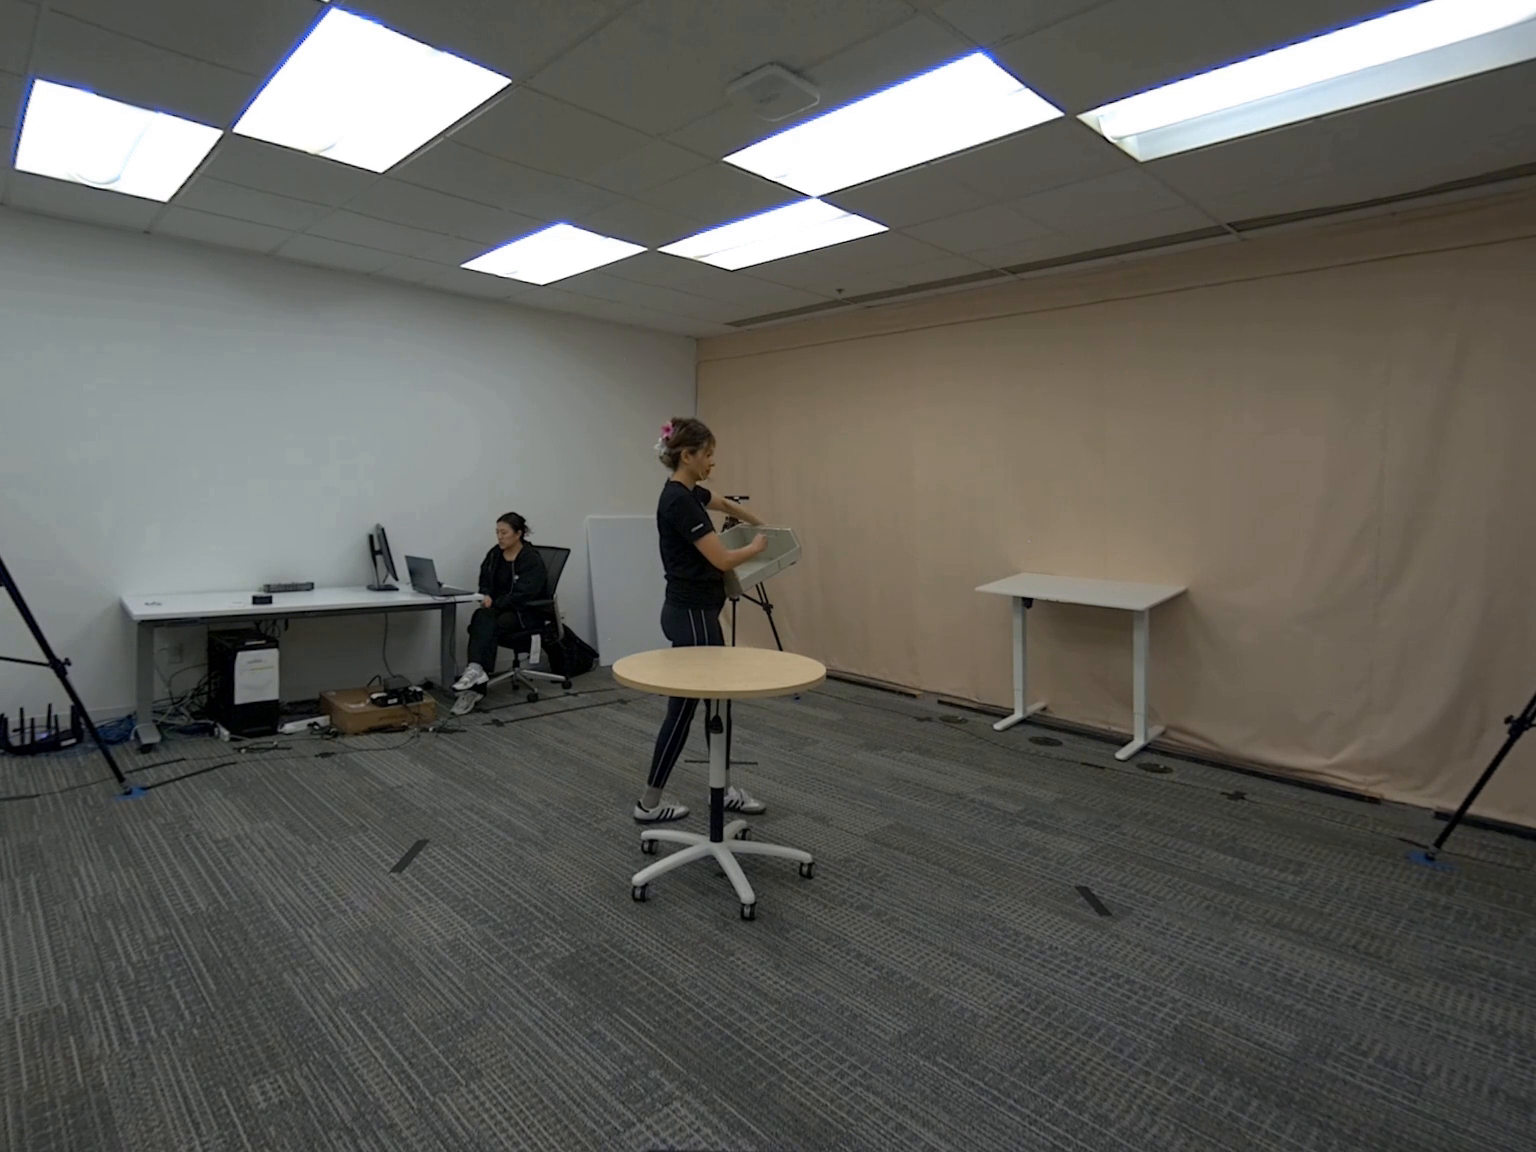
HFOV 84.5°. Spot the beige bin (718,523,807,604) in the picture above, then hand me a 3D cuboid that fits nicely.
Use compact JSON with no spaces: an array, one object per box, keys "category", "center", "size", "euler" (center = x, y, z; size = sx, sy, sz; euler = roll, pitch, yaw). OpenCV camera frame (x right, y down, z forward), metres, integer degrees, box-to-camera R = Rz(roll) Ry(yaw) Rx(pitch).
[{"category":"beige bin","center":[-0.124,-0.070,3.835],"size":[0.387,0.186,0.418],"euler":[5,27,45]}]
